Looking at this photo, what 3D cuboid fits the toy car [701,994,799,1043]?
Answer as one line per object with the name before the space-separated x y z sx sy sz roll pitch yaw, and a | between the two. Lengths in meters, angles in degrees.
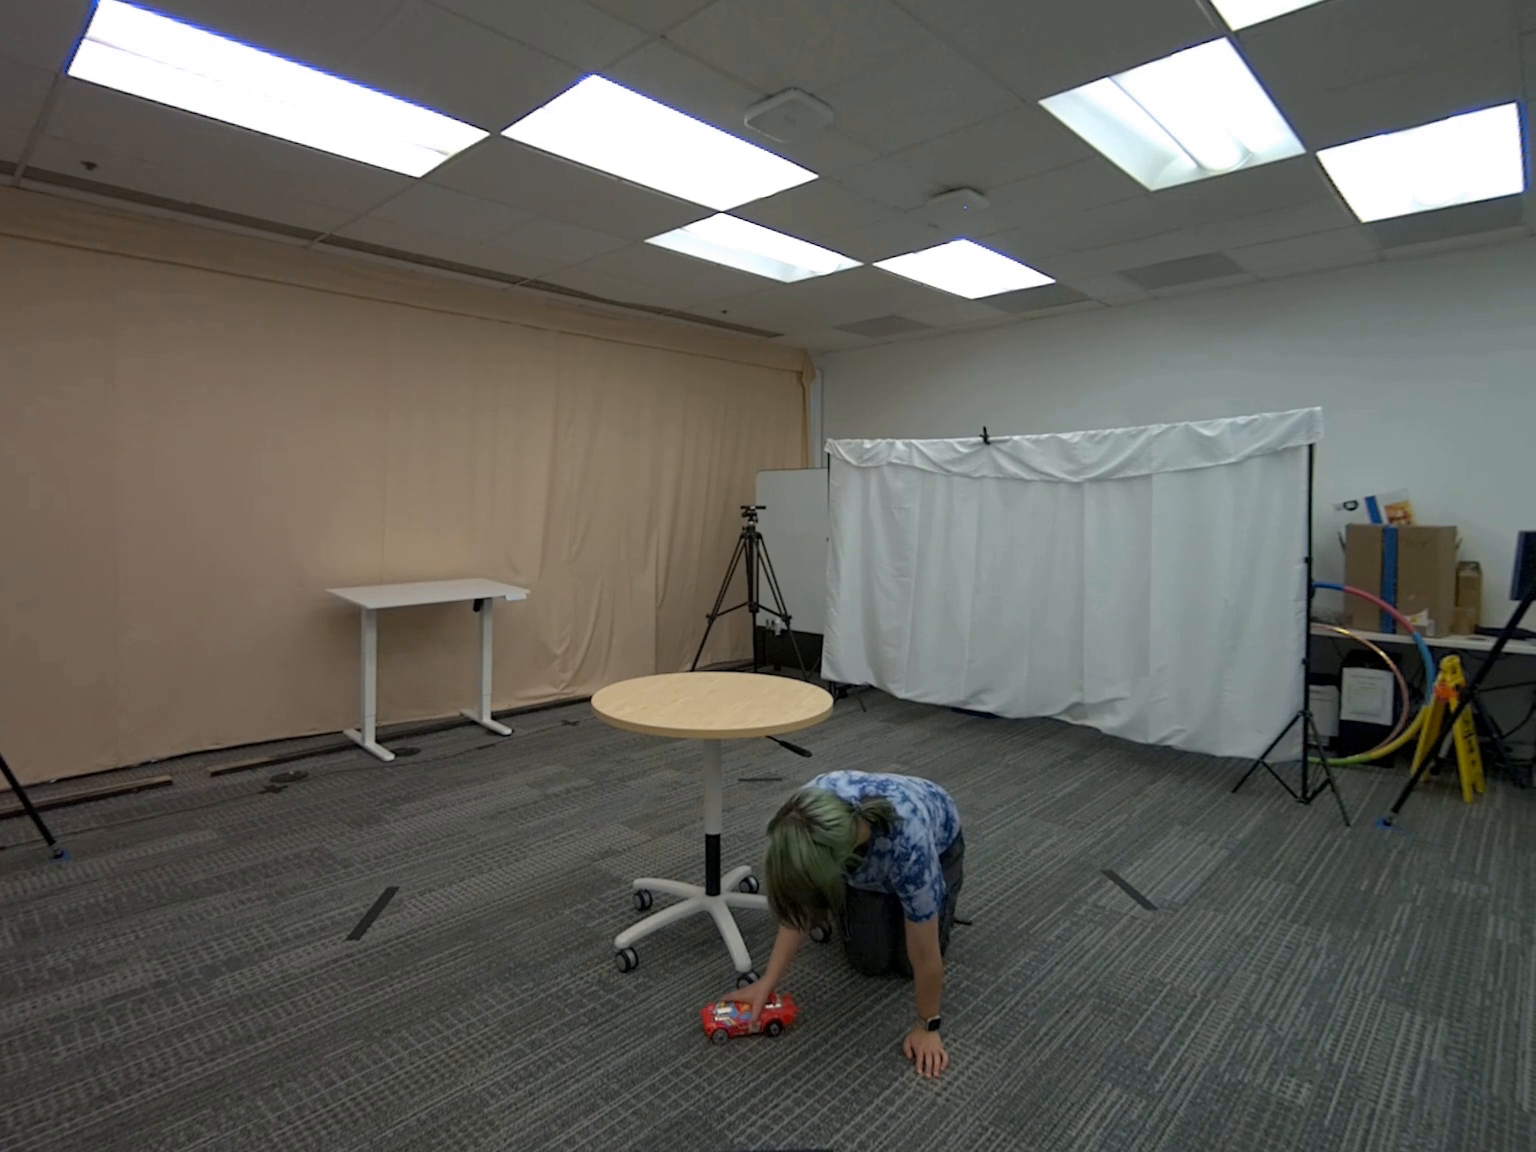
toy car | -0.040 1.180 2.241 0.252 0.083 0.132 -14 7 -11
